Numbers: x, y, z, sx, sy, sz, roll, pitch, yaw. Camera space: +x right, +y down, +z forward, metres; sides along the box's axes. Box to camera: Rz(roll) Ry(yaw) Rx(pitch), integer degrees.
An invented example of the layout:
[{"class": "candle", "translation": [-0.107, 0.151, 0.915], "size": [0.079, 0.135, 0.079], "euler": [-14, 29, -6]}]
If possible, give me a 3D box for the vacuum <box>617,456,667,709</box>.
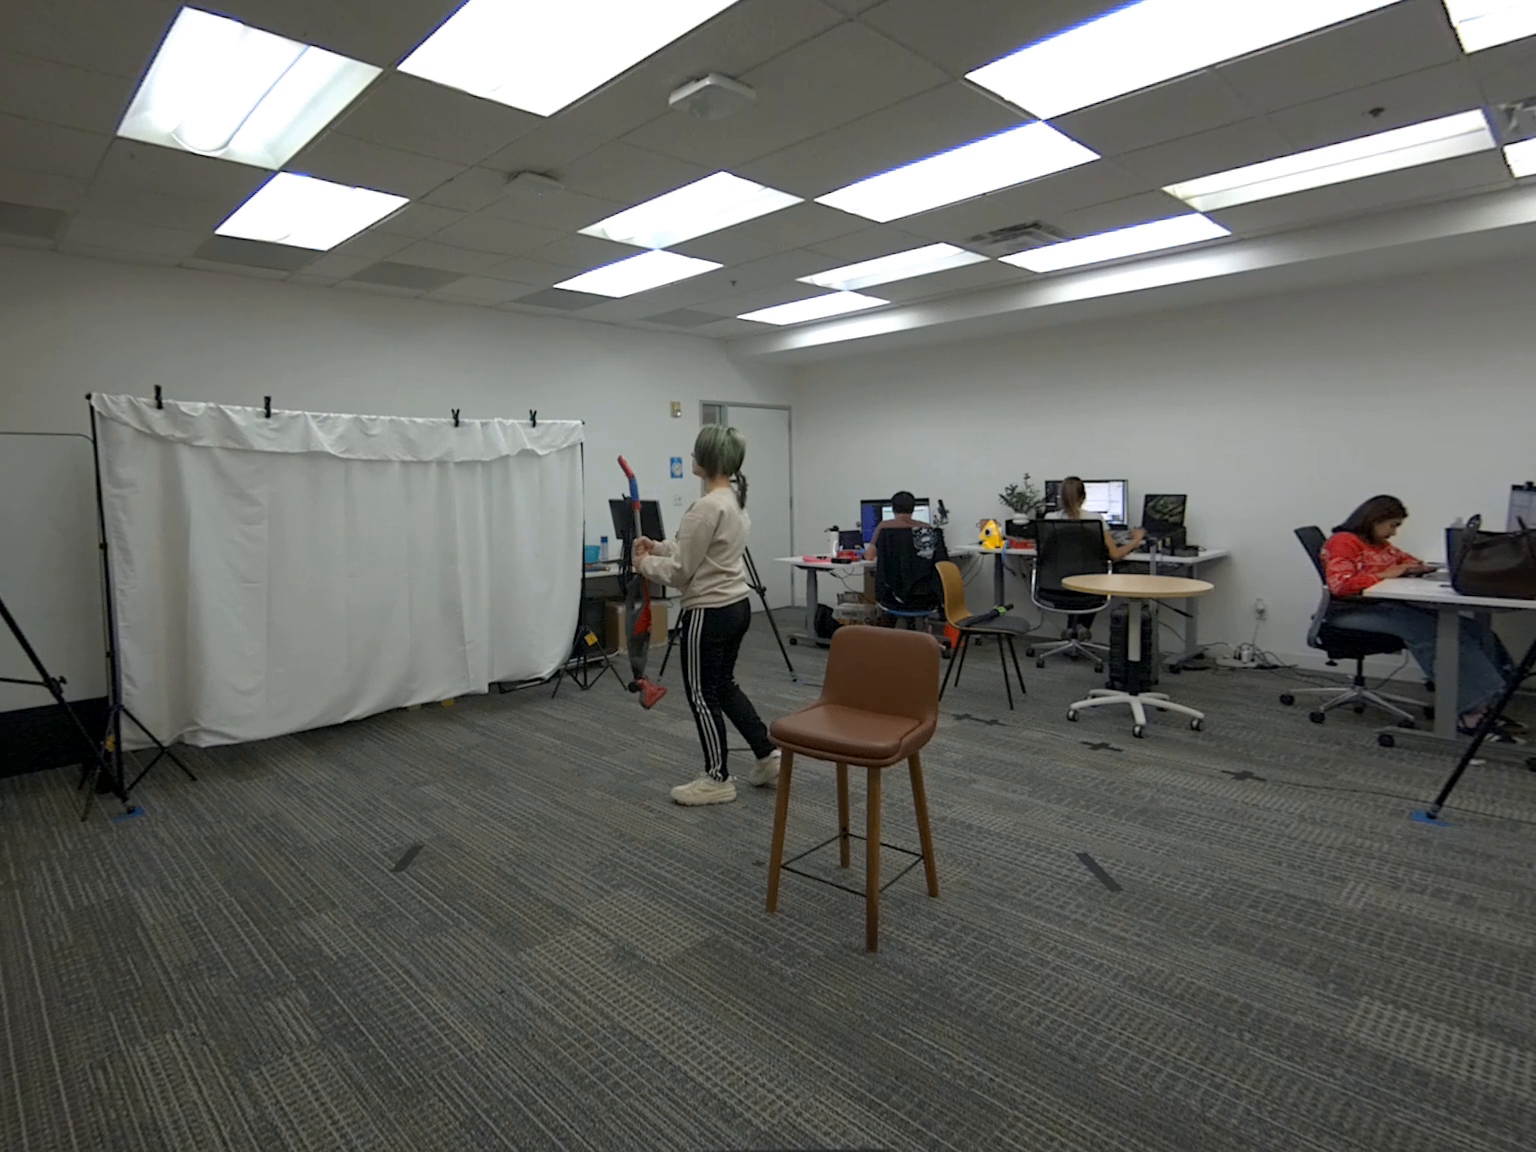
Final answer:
[{"class": "vacuum", "translation": [-0.599, 0.001, 3.791], "size": [0.146, 1.042, 0.250], "euler": [-4, 6, 15]}]
